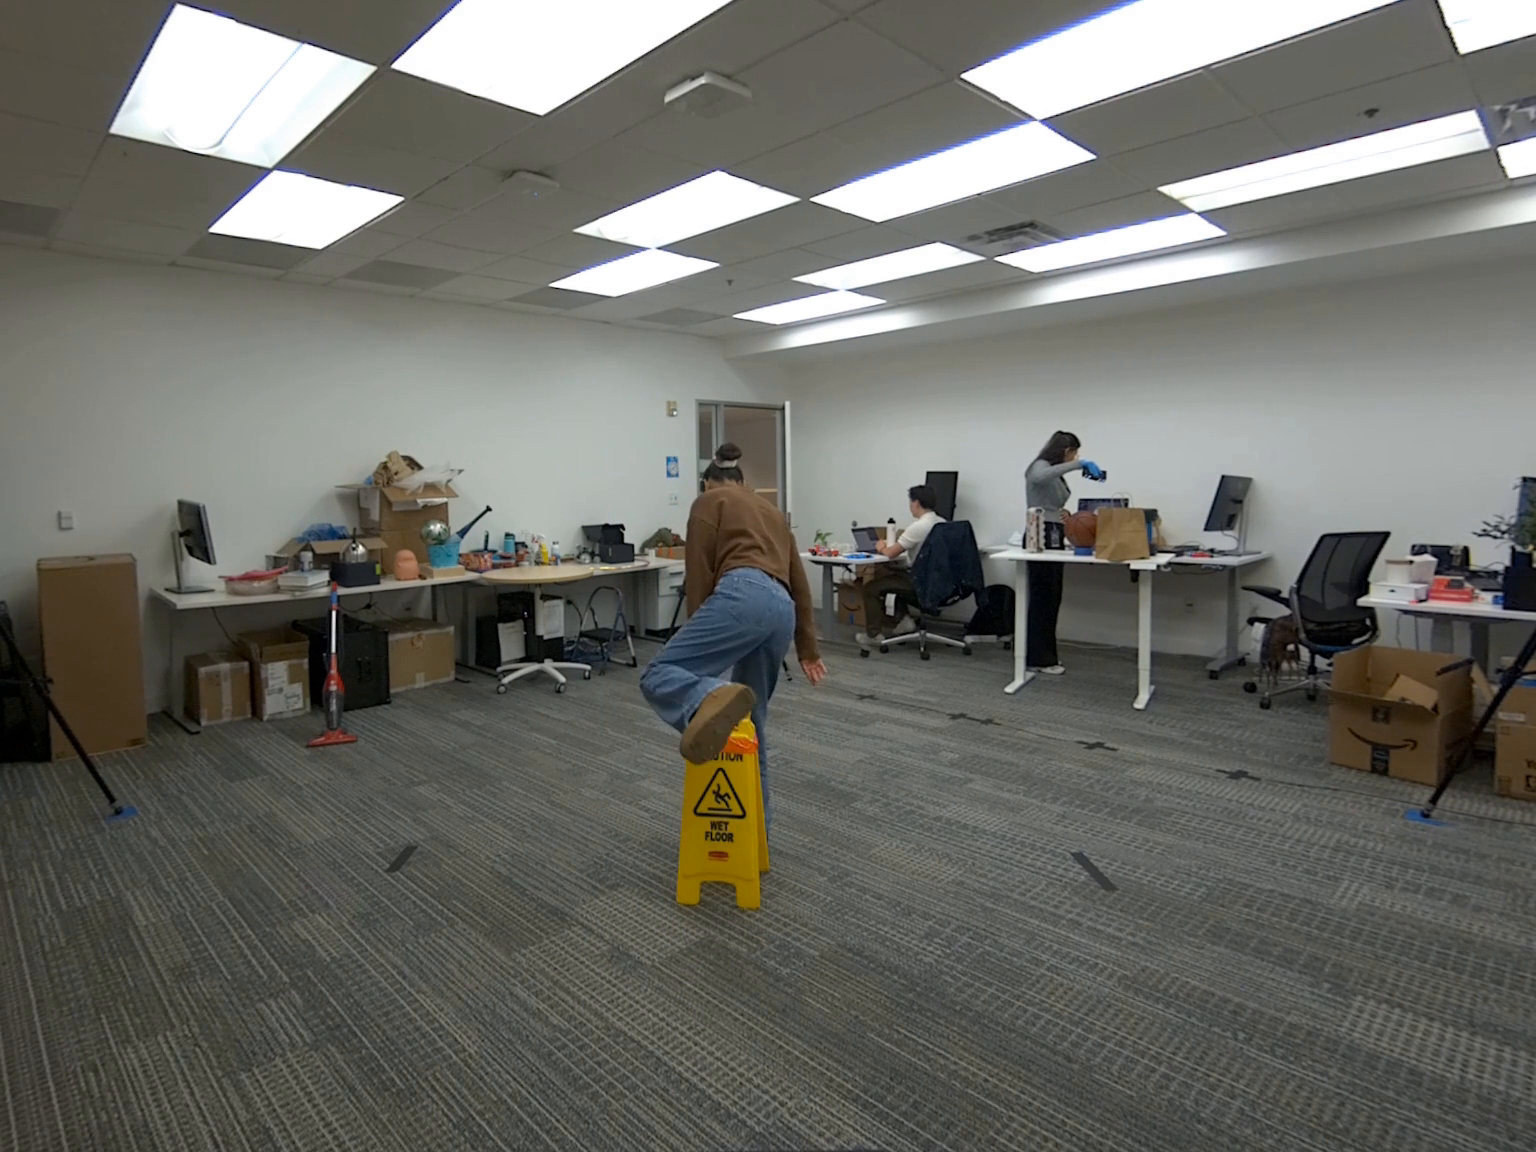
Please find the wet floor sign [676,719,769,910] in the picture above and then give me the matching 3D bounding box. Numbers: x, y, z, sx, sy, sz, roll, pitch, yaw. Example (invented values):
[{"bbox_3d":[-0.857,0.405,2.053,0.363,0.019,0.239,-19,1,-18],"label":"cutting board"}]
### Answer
[{"bbox_3d":[-0.143,0.753,2.909,0.285,0.643,0.288,-1,5,8],"label":"wet floor sign"}]
